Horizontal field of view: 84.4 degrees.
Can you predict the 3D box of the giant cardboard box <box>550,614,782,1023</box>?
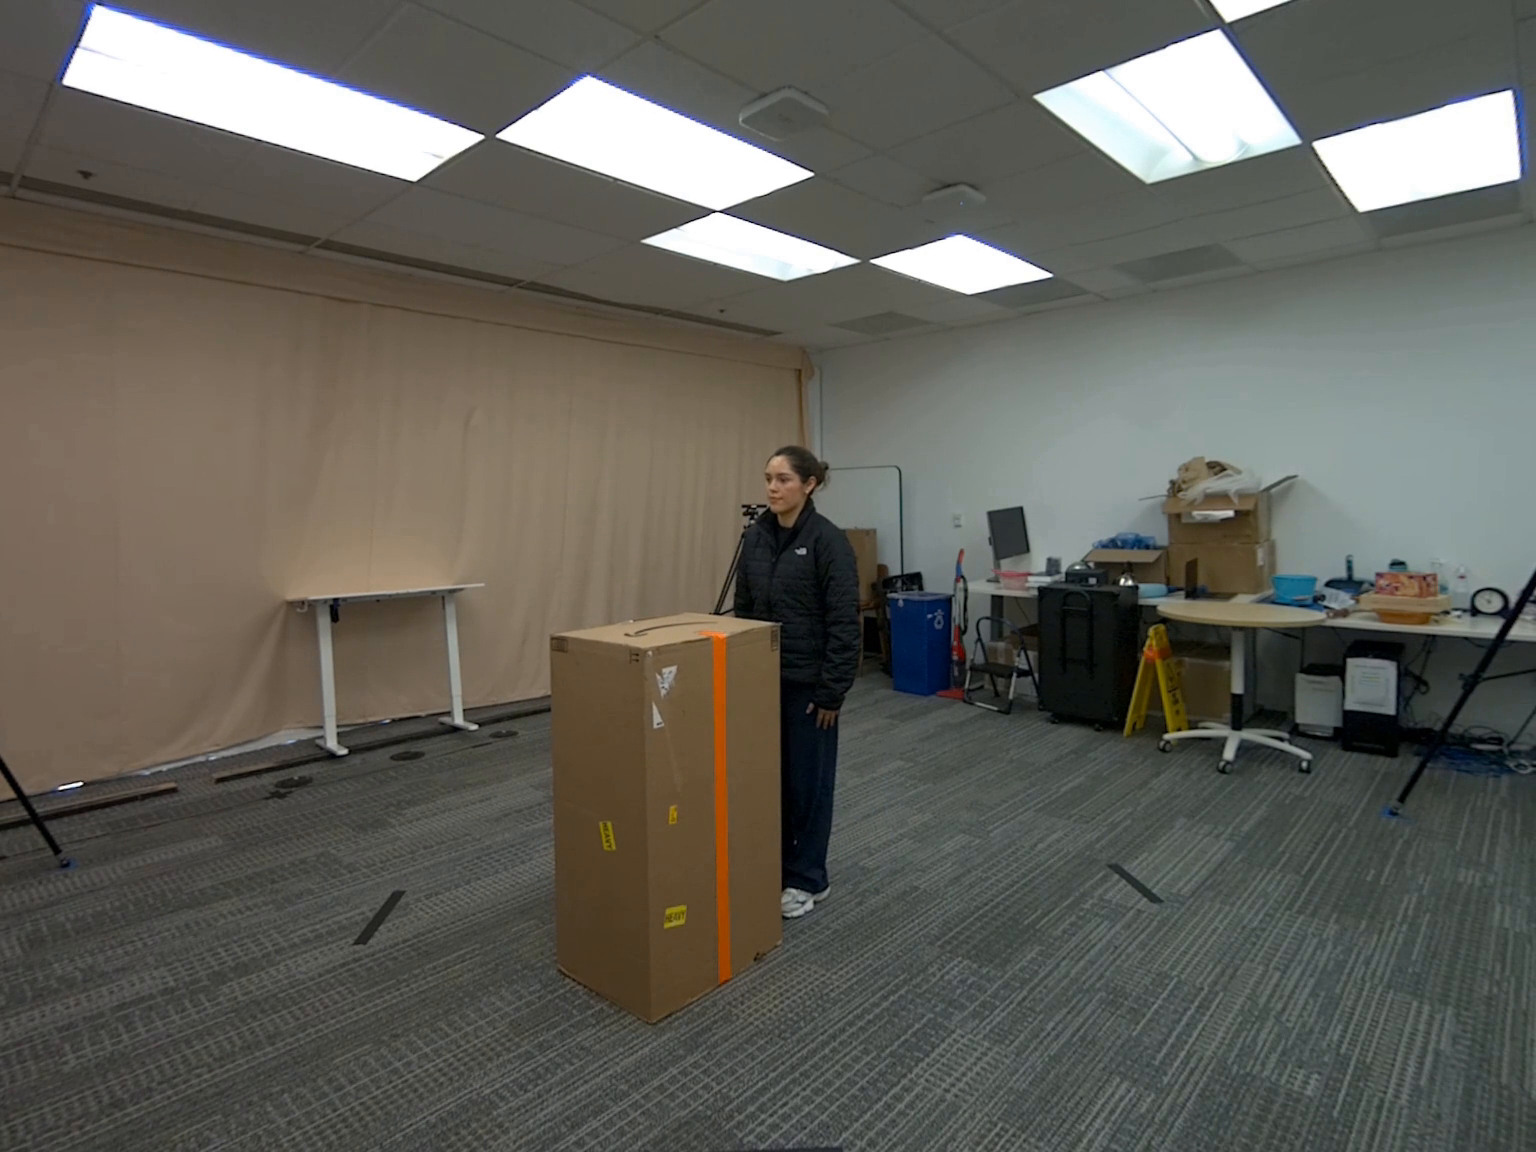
[{"bbox_3d":[-0.287,0.673,2.578,0.440,1.024,0.560,2,4,41],"label":"giant cardboard box"}]
